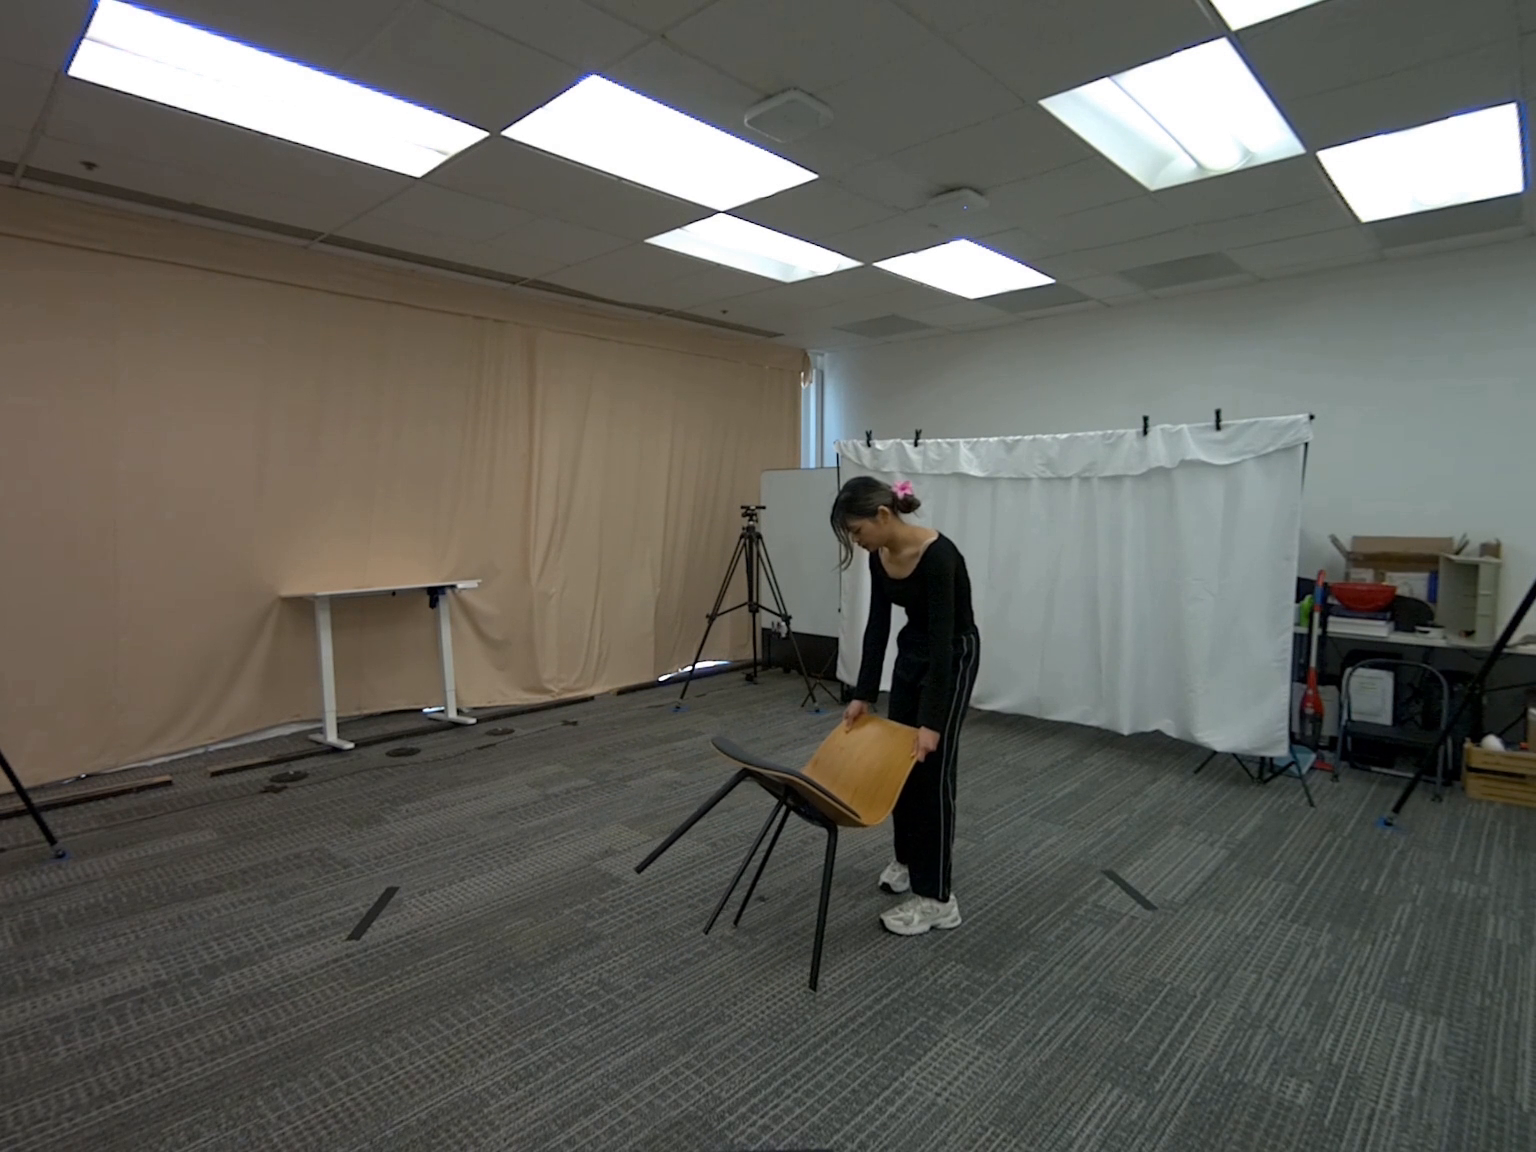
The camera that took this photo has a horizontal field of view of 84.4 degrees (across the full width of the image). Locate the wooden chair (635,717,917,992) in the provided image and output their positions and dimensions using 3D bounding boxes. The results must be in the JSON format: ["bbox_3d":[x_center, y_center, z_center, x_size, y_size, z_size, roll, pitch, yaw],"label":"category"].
[{"bbox_3d":[0.072,0.690,2.599,0.509,0.875,0.492,43,-18,-26],"label":"wooden chair"}]
